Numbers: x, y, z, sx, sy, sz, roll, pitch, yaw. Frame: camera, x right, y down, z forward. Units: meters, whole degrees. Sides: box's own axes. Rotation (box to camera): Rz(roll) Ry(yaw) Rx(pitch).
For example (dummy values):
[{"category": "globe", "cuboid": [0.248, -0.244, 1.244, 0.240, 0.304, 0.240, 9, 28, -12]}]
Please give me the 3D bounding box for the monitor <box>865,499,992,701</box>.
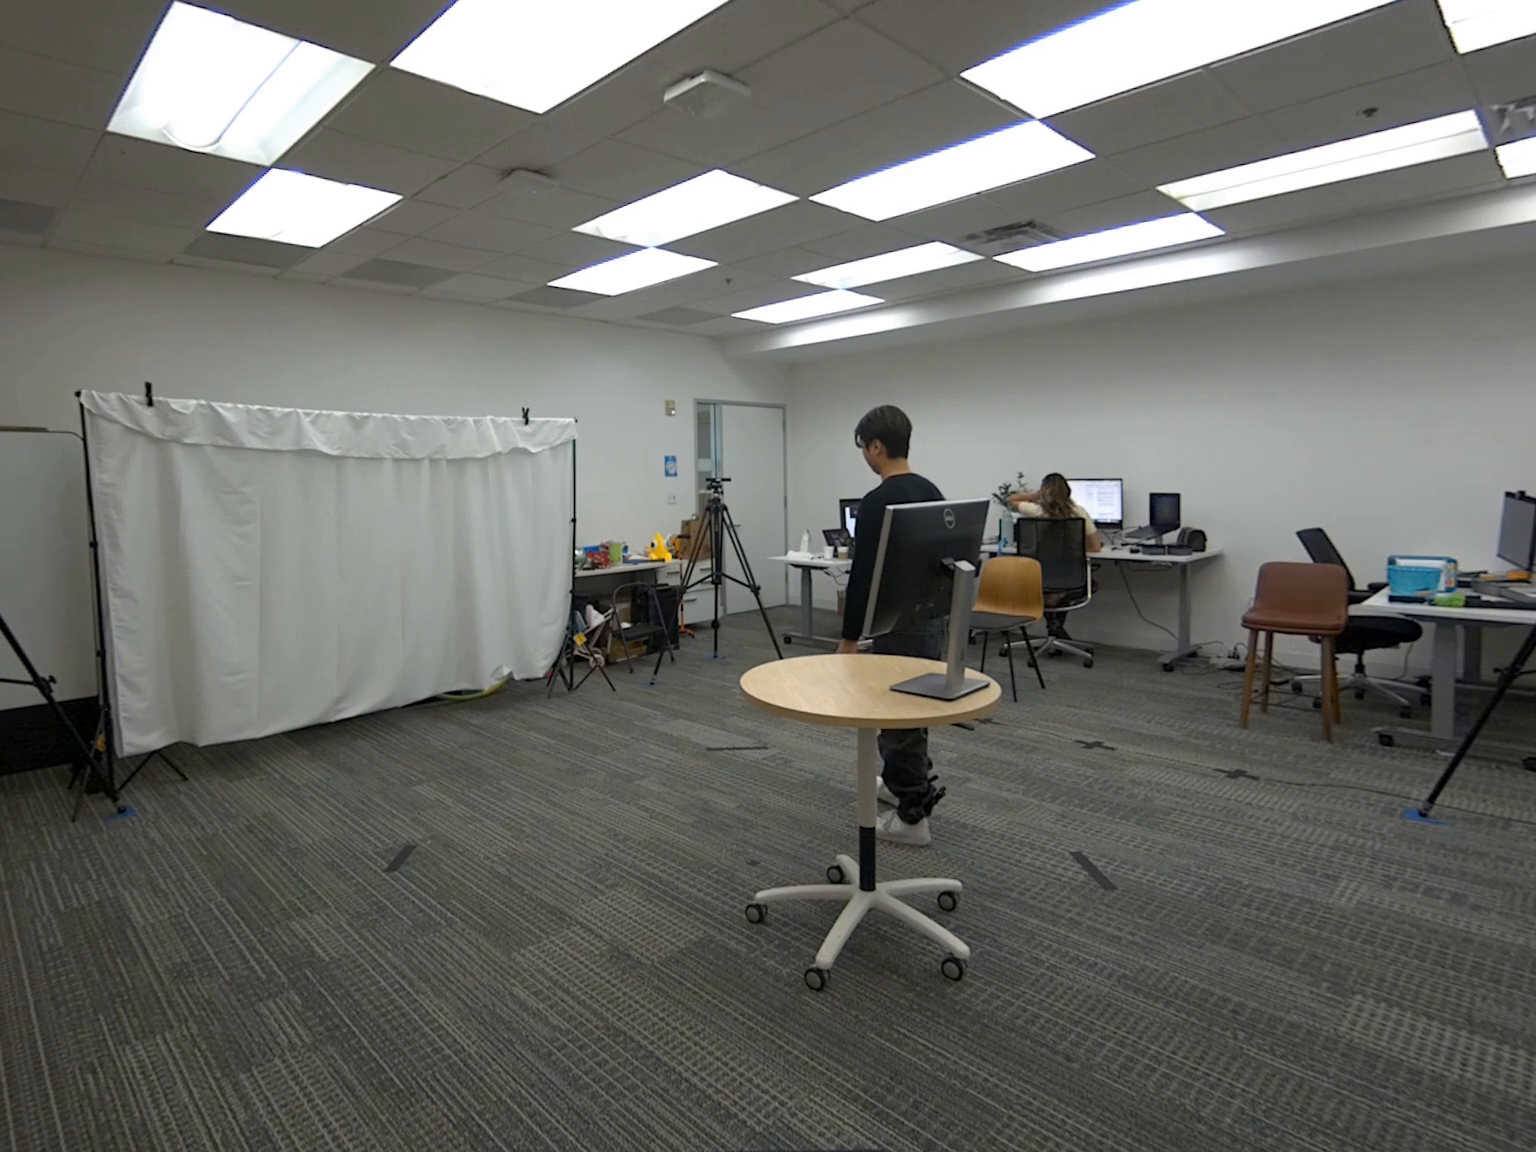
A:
[{"category": "monitor", "cuboid": [0.504, 0.061, 2.459, 0.193, 0.520, 0.525, 2, 6, 40]}]
